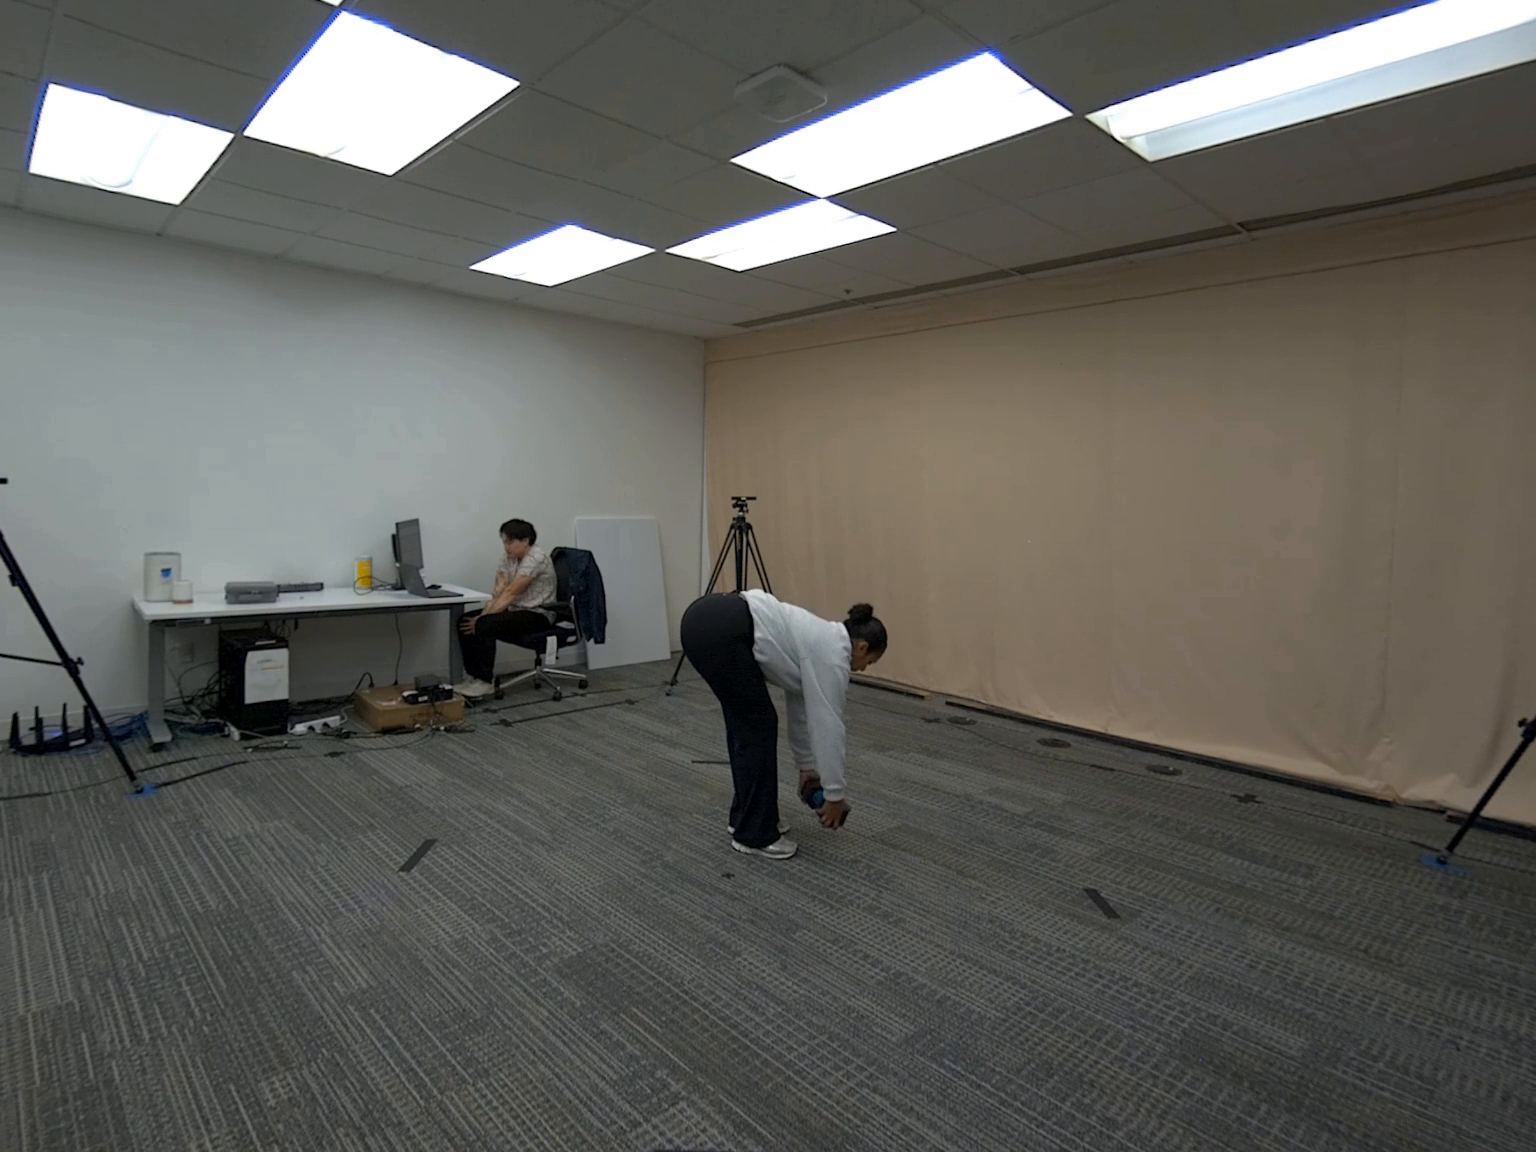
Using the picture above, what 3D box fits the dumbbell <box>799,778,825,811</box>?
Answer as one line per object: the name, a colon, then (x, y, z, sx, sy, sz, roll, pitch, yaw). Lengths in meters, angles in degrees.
dumbbell: (0.211, 0.922, 3.447, 0.108, 0.122, 0.297, -35, 11, -10)
